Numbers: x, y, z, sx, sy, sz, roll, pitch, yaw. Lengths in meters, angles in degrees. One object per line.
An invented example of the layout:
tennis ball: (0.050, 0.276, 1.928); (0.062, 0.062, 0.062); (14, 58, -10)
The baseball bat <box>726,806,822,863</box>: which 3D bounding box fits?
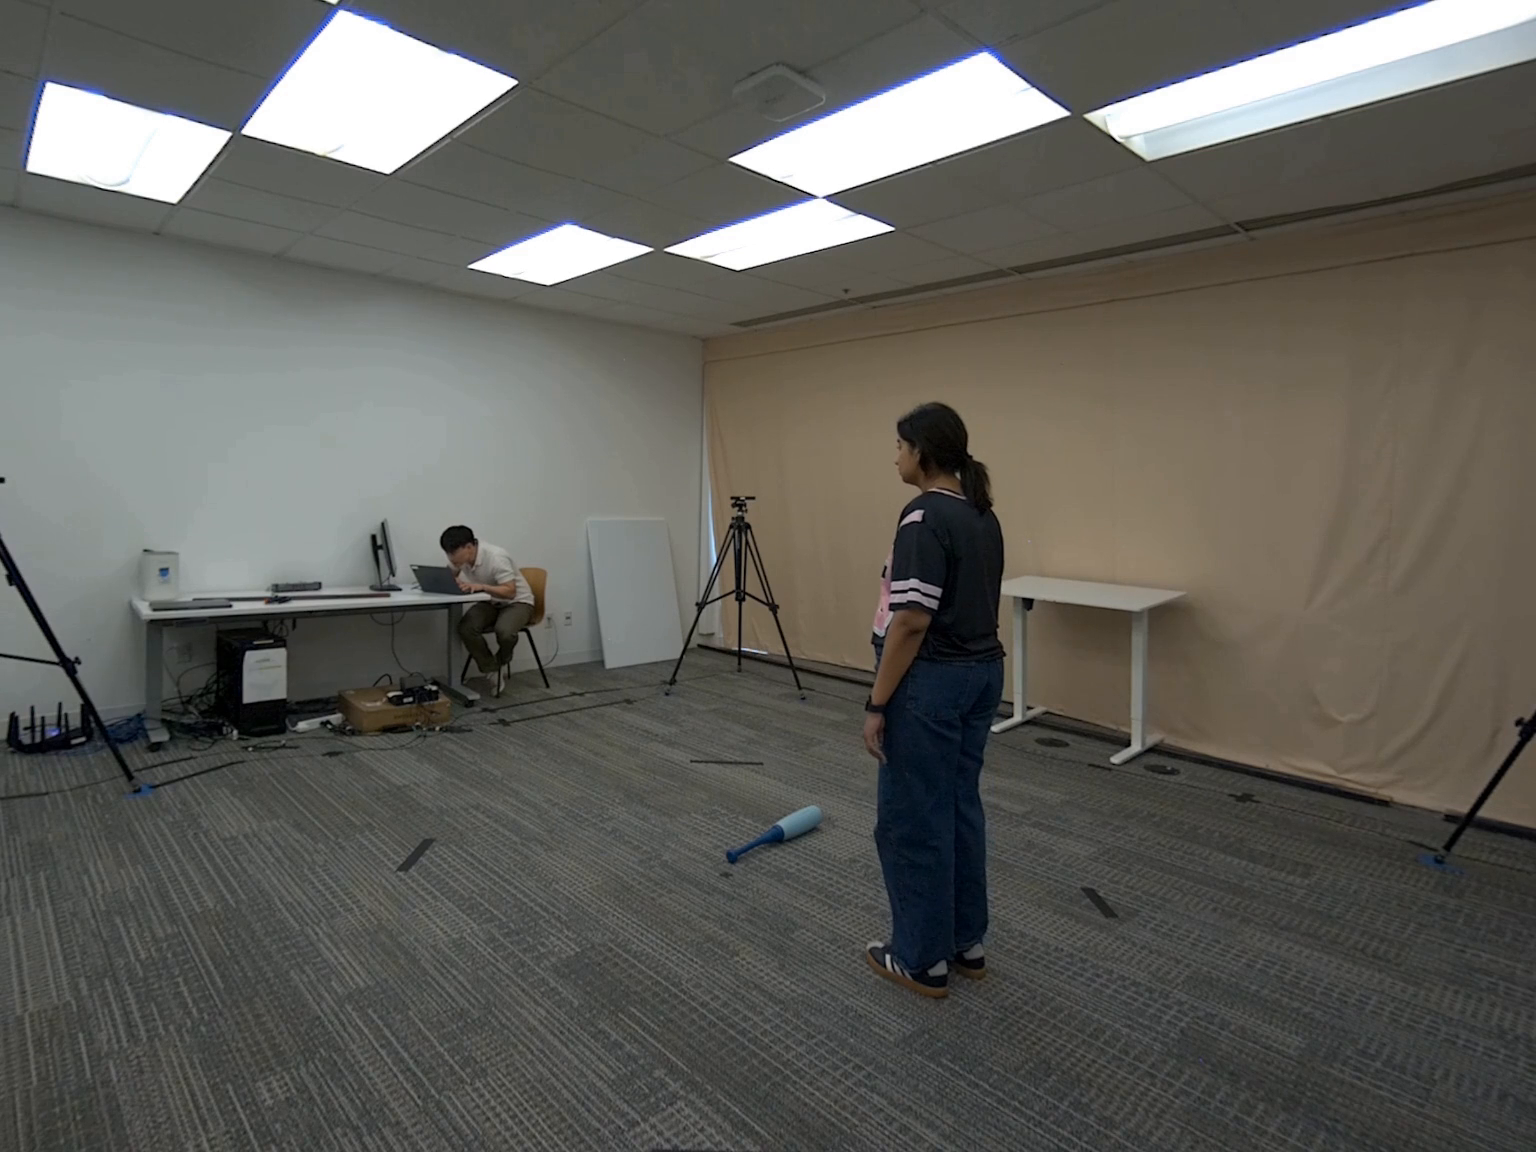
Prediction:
baseball bat: (0.021, 1.046, 3.401); (0.091, 0.088, 0.531); (5, 9, 42)
